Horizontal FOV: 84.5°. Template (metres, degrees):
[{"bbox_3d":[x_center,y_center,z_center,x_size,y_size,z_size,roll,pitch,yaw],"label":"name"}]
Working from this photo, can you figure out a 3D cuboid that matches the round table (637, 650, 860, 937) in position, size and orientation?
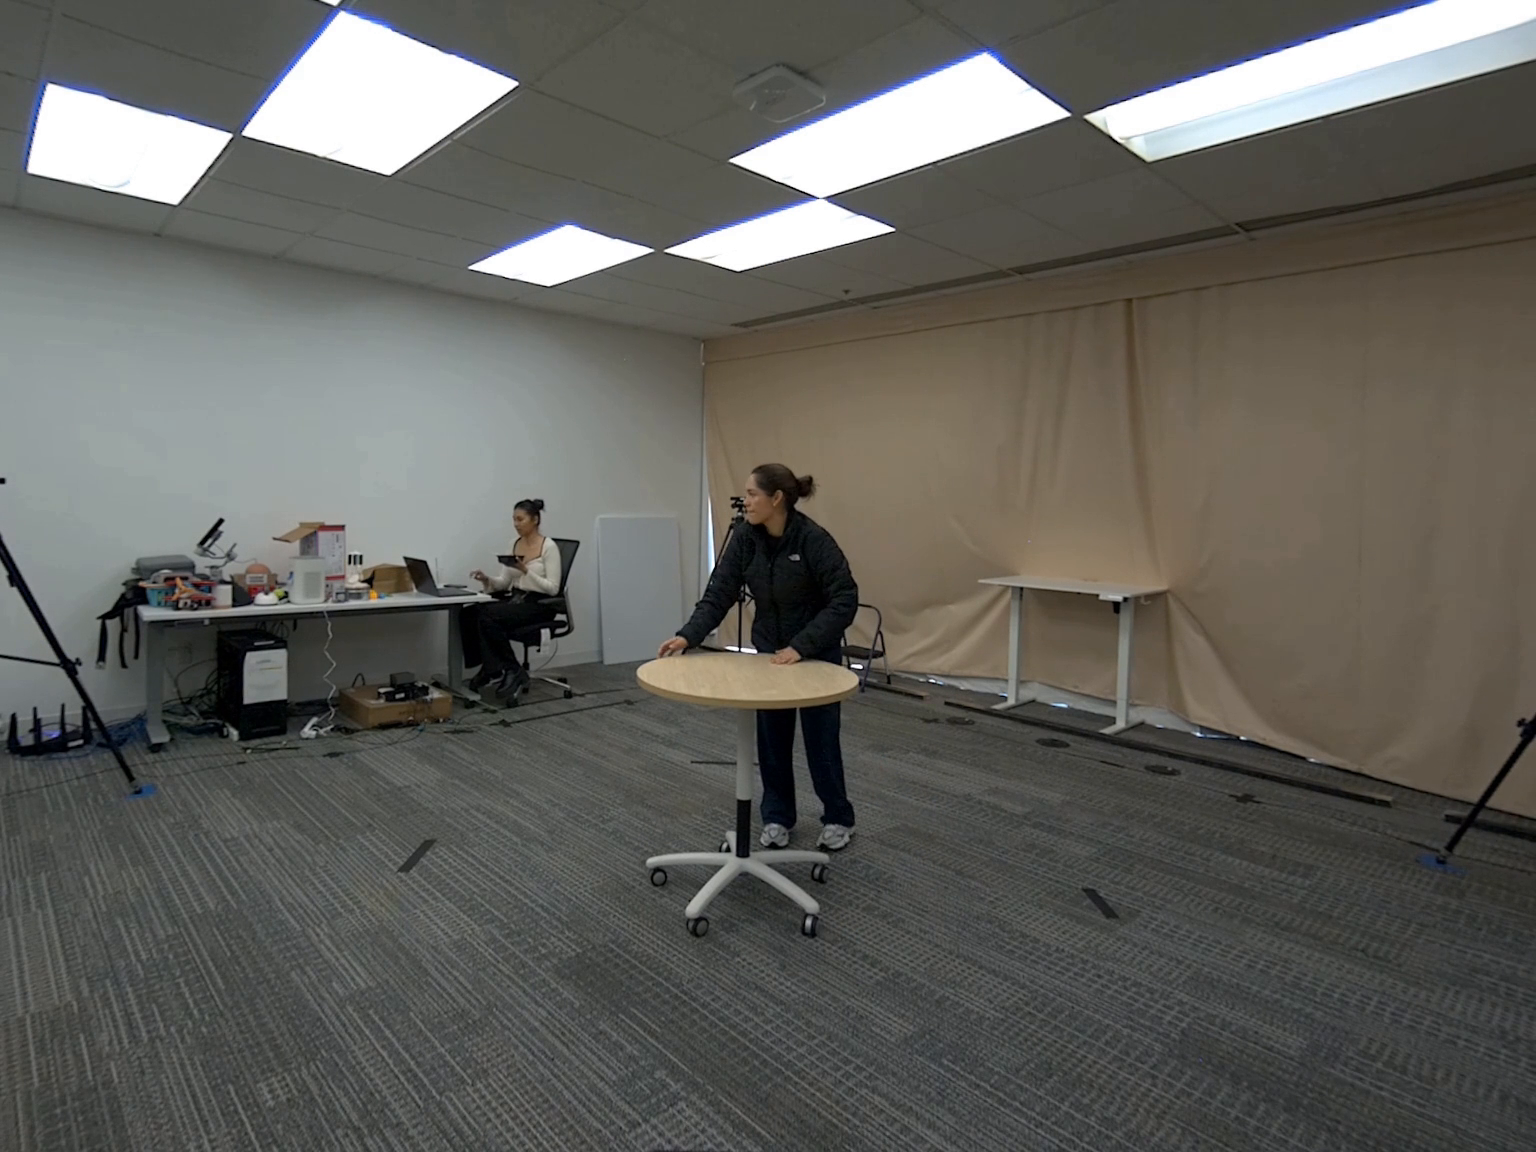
[{"bbox_3d":[-0.084,0.727,2.936,0.784,0.784,0.788,2,5,-2],"label":"round table"}]
